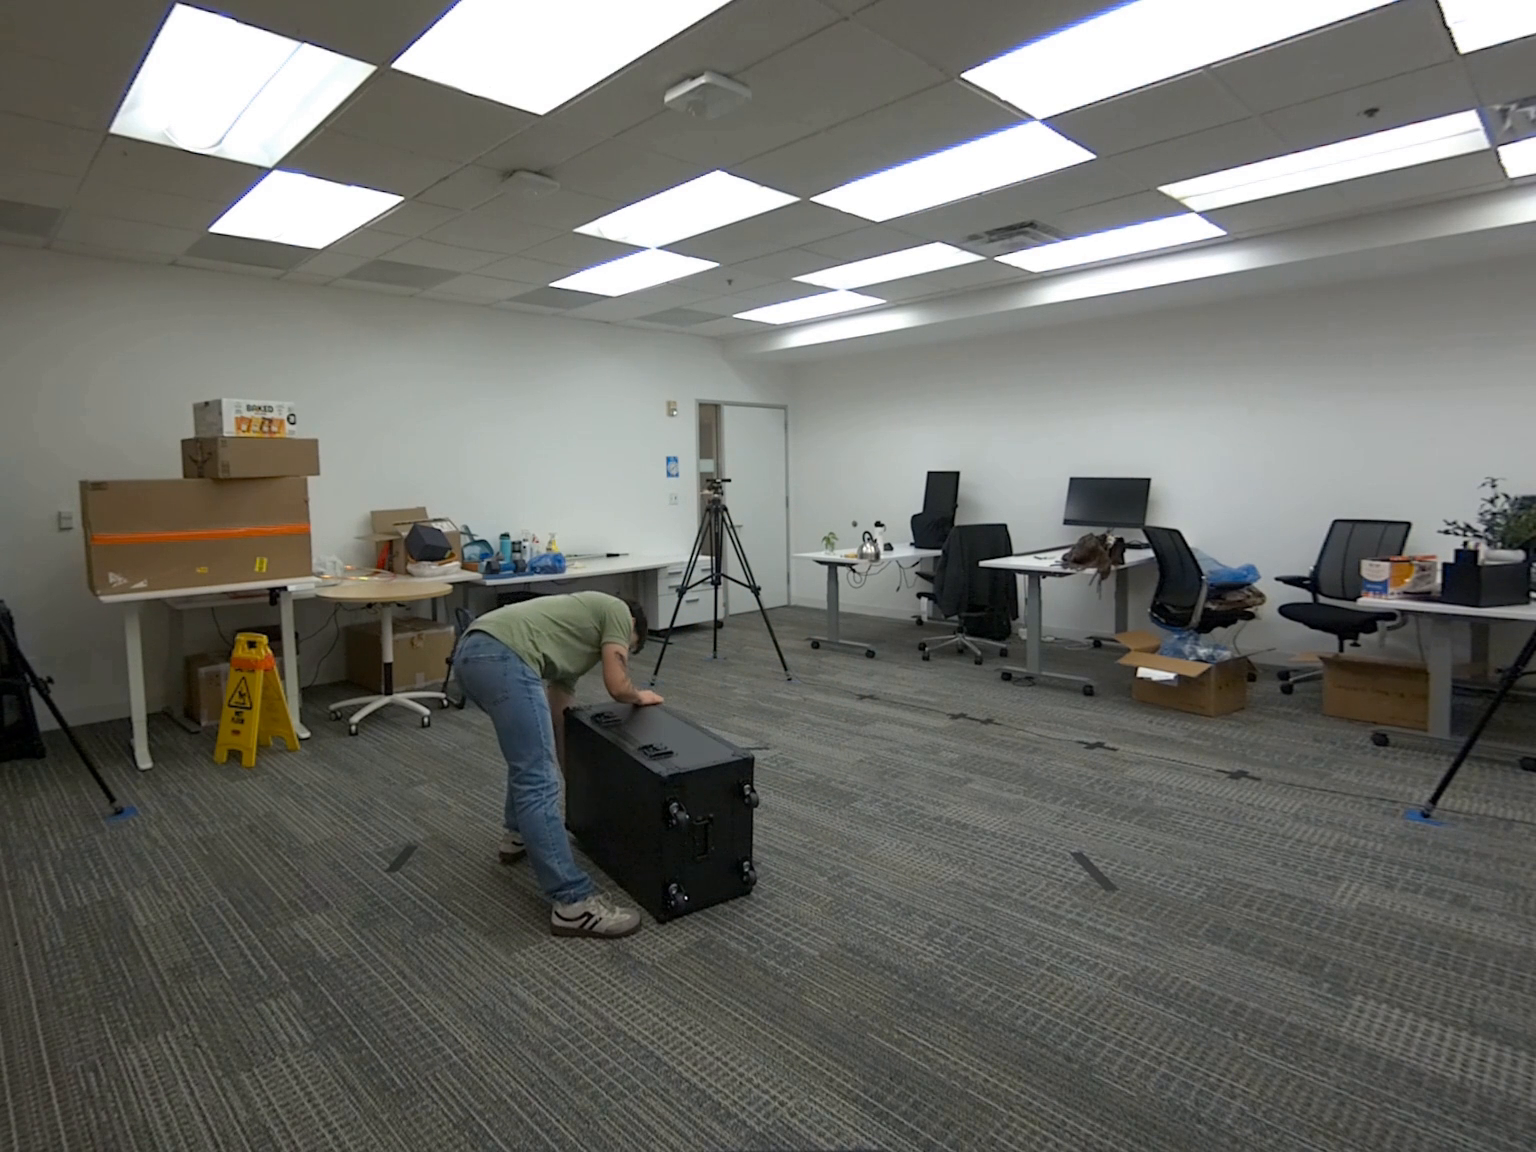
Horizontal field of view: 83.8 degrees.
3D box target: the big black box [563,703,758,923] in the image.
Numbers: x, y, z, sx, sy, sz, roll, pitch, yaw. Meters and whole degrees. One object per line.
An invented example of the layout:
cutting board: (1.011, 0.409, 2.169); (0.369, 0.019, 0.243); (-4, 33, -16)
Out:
big black box: (-0.383, 0.799, 3.054); (0.386, 0.518, 0.889); (-4, 10, -34)
